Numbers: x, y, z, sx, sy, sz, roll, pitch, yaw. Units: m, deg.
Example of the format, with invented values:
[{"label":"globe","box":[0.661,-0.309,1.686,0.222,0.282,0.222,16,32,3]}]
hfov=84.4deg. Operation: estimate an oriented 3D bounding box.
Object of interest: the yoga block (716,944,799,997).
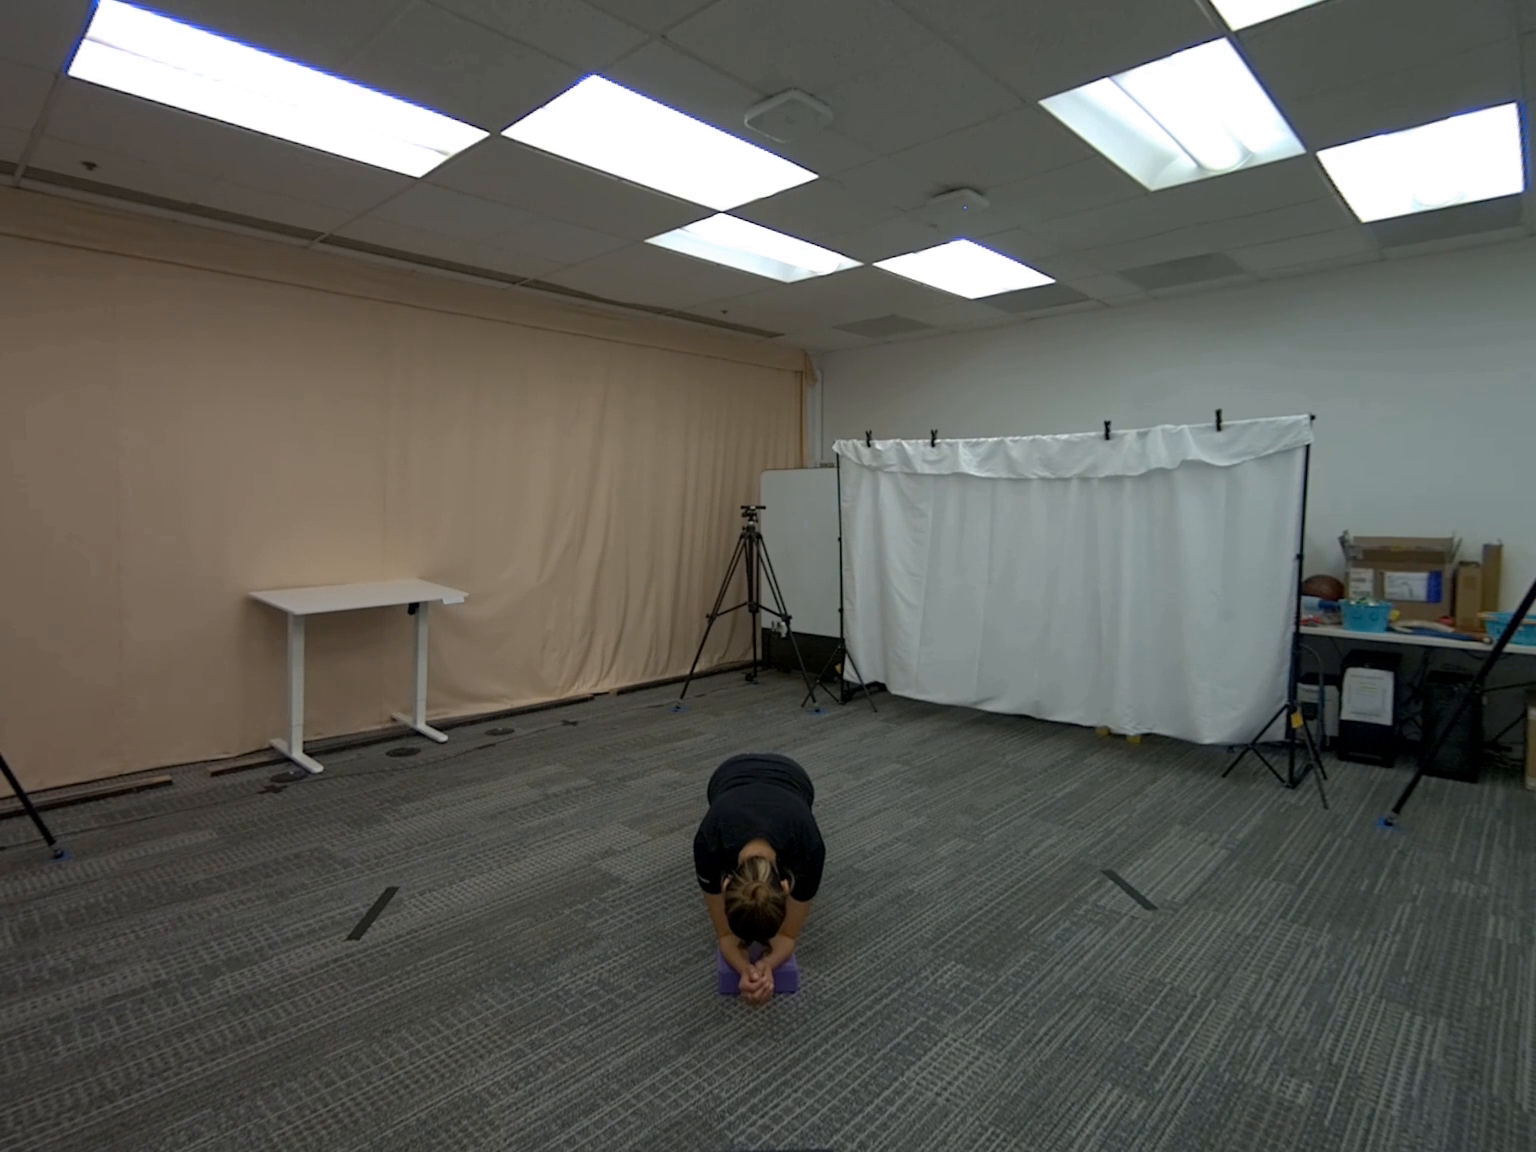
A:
[{"label":"yoga block","box":[-0.029,1.144,2.469,0.229,0.076,0.149,0,4,-1]}]
